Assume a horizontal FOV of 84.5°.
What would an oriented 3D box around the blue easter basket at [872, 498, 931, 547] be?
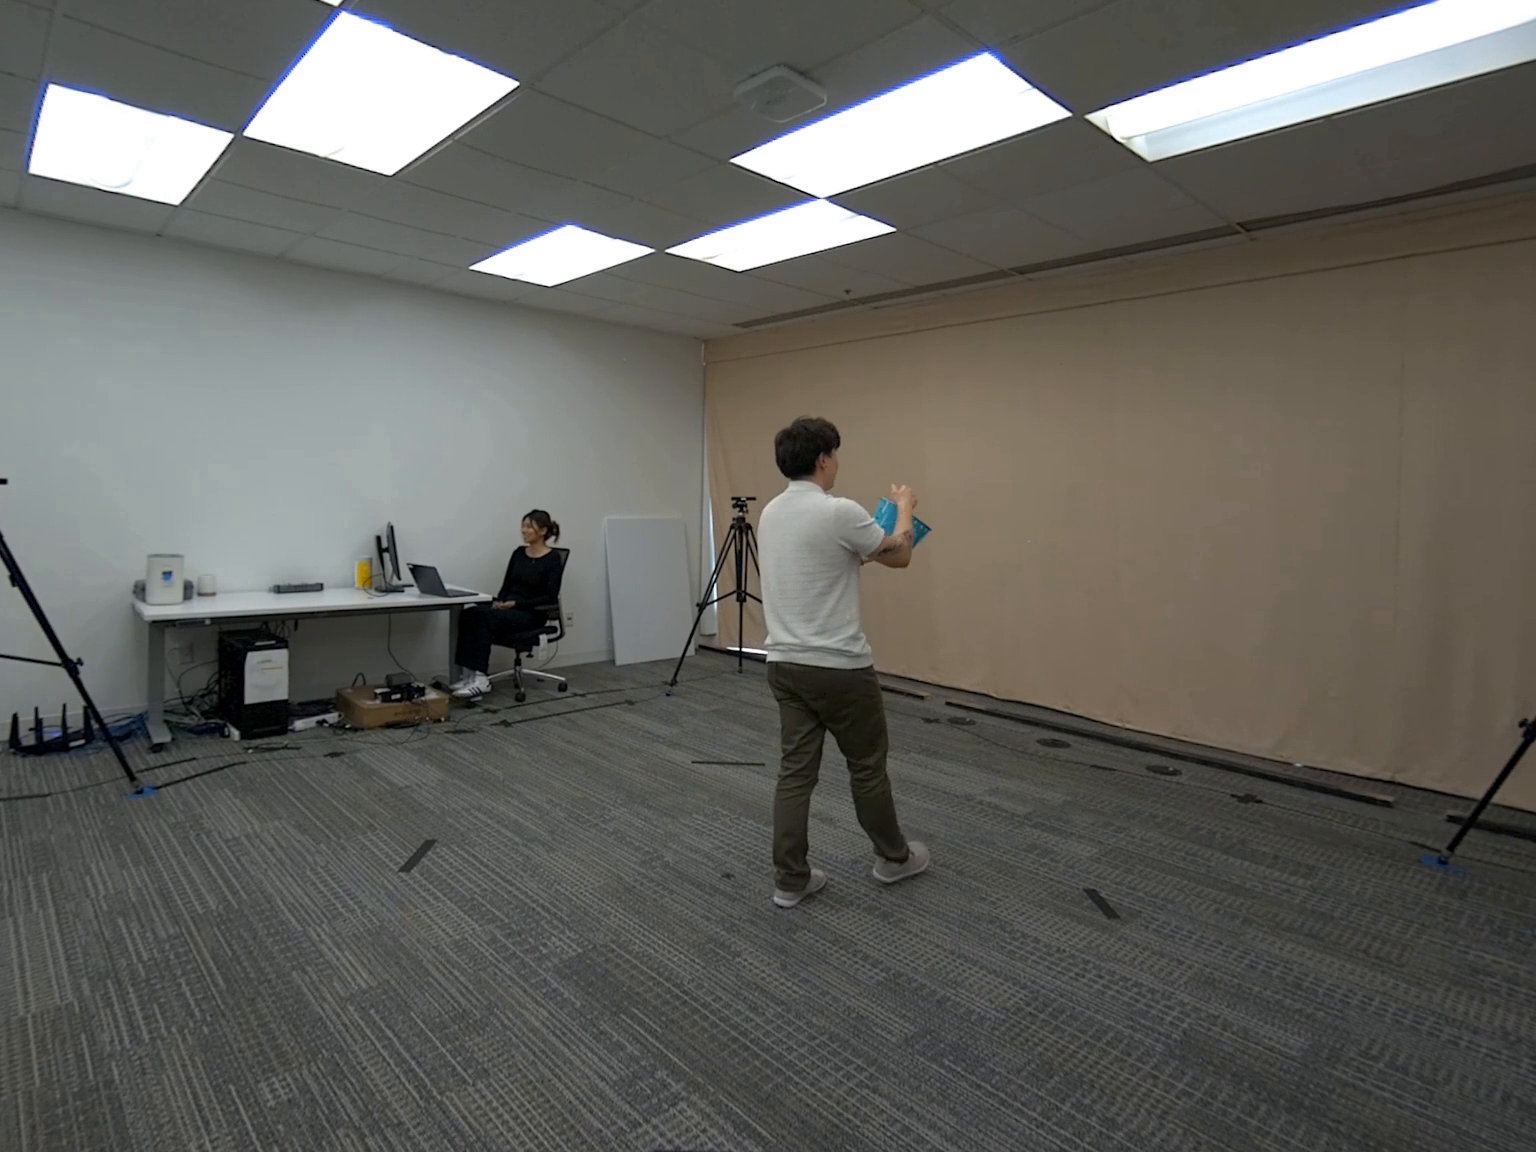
[{"bbox_3d":[0.488,-0.179,3.240,0.242,0.156,0.245,33,5,-5],"label":"blue easter basket"}]
